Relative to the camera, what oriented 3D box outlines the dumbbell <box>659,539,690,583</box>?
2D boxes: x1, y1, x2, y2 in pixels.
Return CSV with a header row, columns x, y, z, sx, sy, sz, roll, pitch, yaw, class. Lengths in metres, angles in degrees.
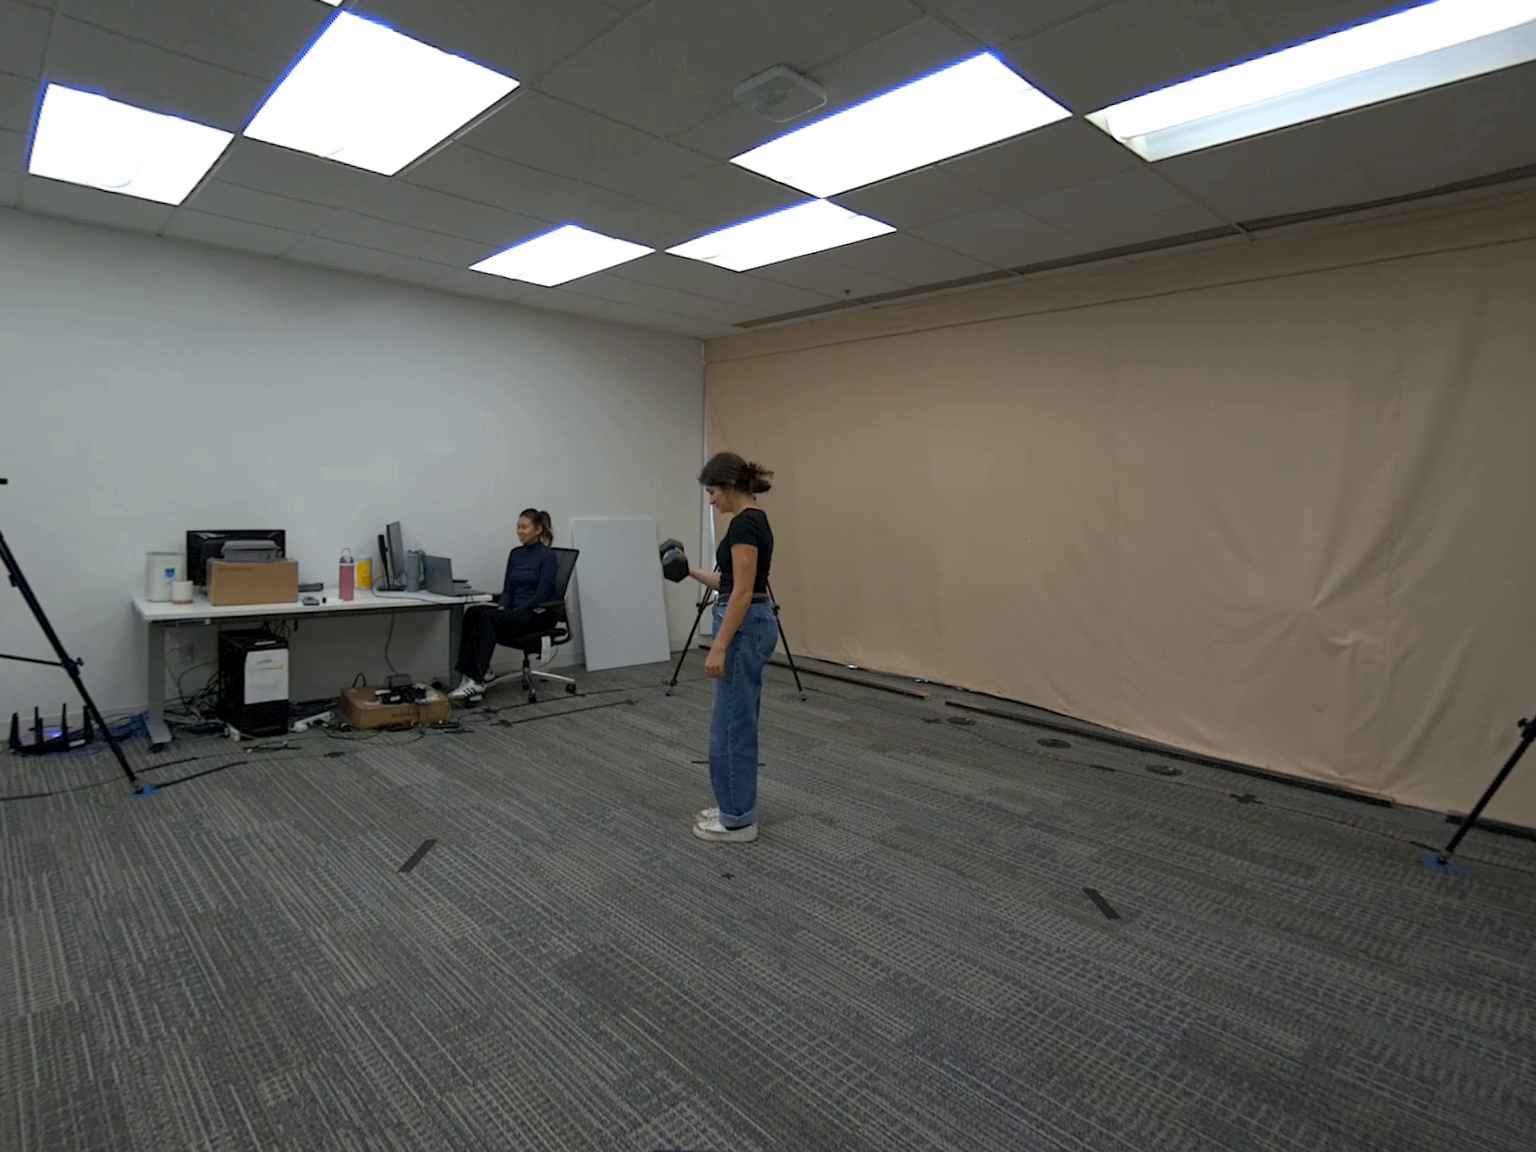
x,y,z,sx,sy,sz,roll,pitch,yaw,class
-0.404,-0.065,3.616,0.121,0.108,0.299,22,13,-17,dumbbell
